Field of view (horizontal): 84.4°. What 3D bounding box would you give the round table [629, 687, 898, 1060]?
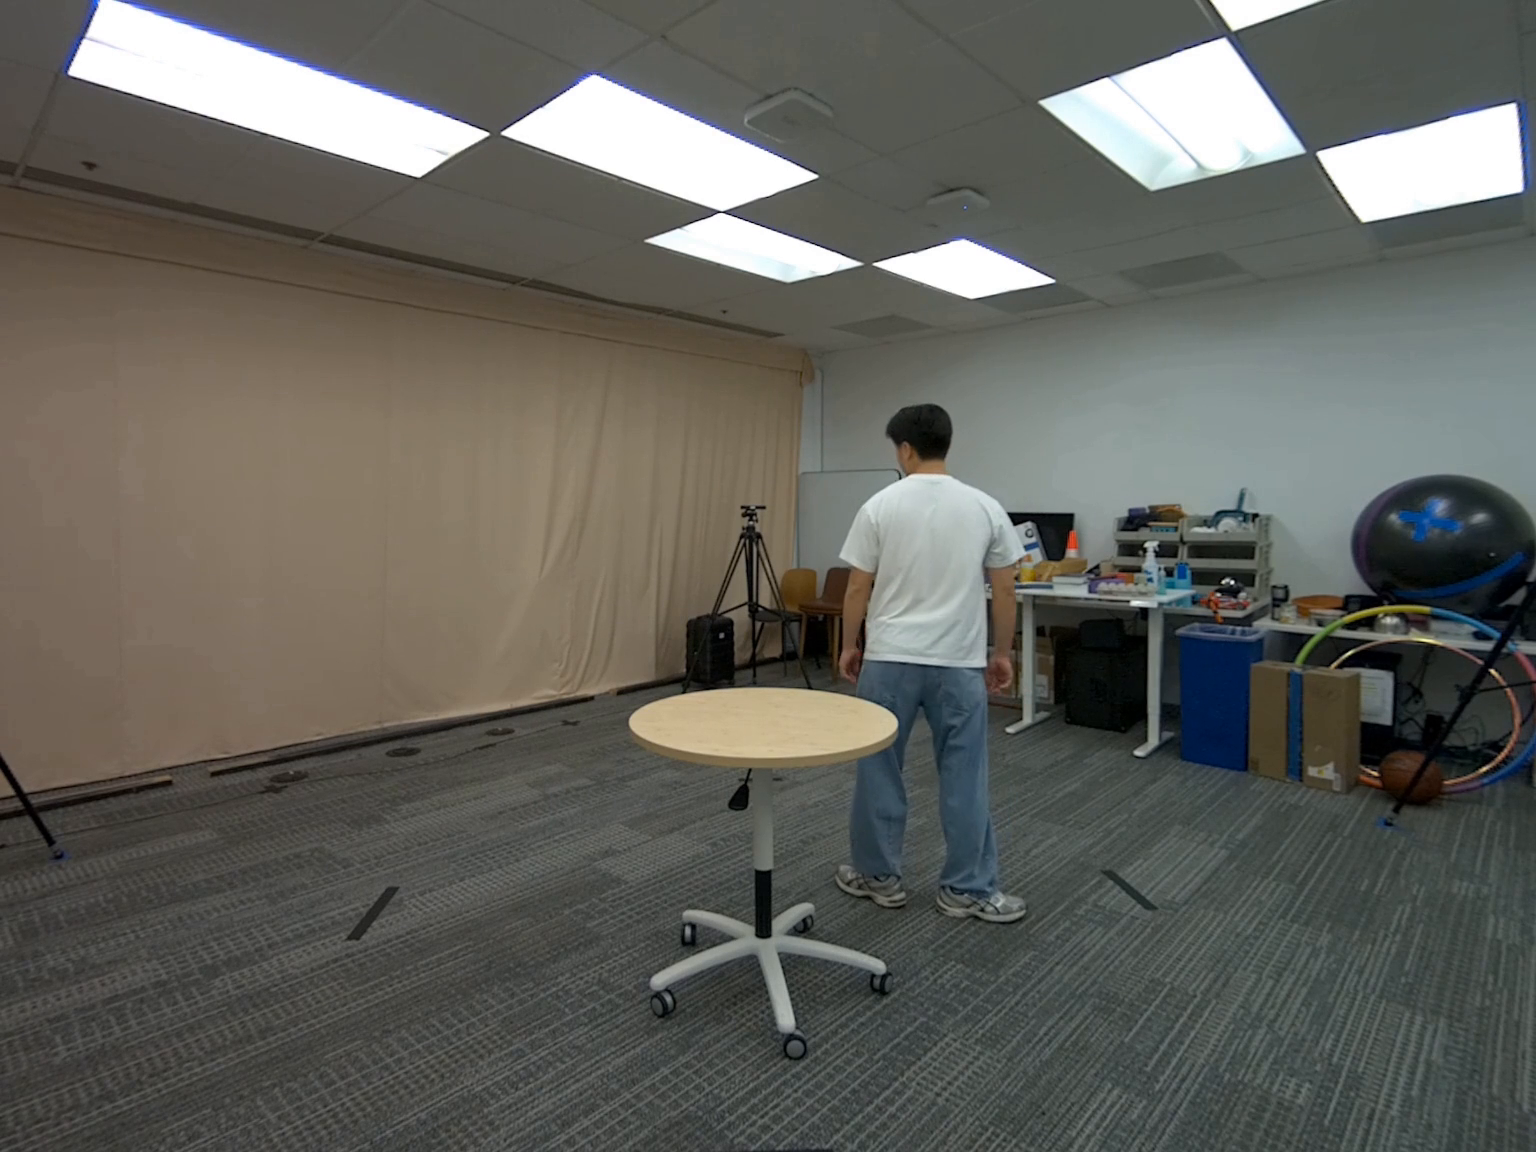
[{"bbox_3d":[-0.026,0.798,2.440,0.784,0.784,0.788,0,4,-2],"label":"round table"}]
